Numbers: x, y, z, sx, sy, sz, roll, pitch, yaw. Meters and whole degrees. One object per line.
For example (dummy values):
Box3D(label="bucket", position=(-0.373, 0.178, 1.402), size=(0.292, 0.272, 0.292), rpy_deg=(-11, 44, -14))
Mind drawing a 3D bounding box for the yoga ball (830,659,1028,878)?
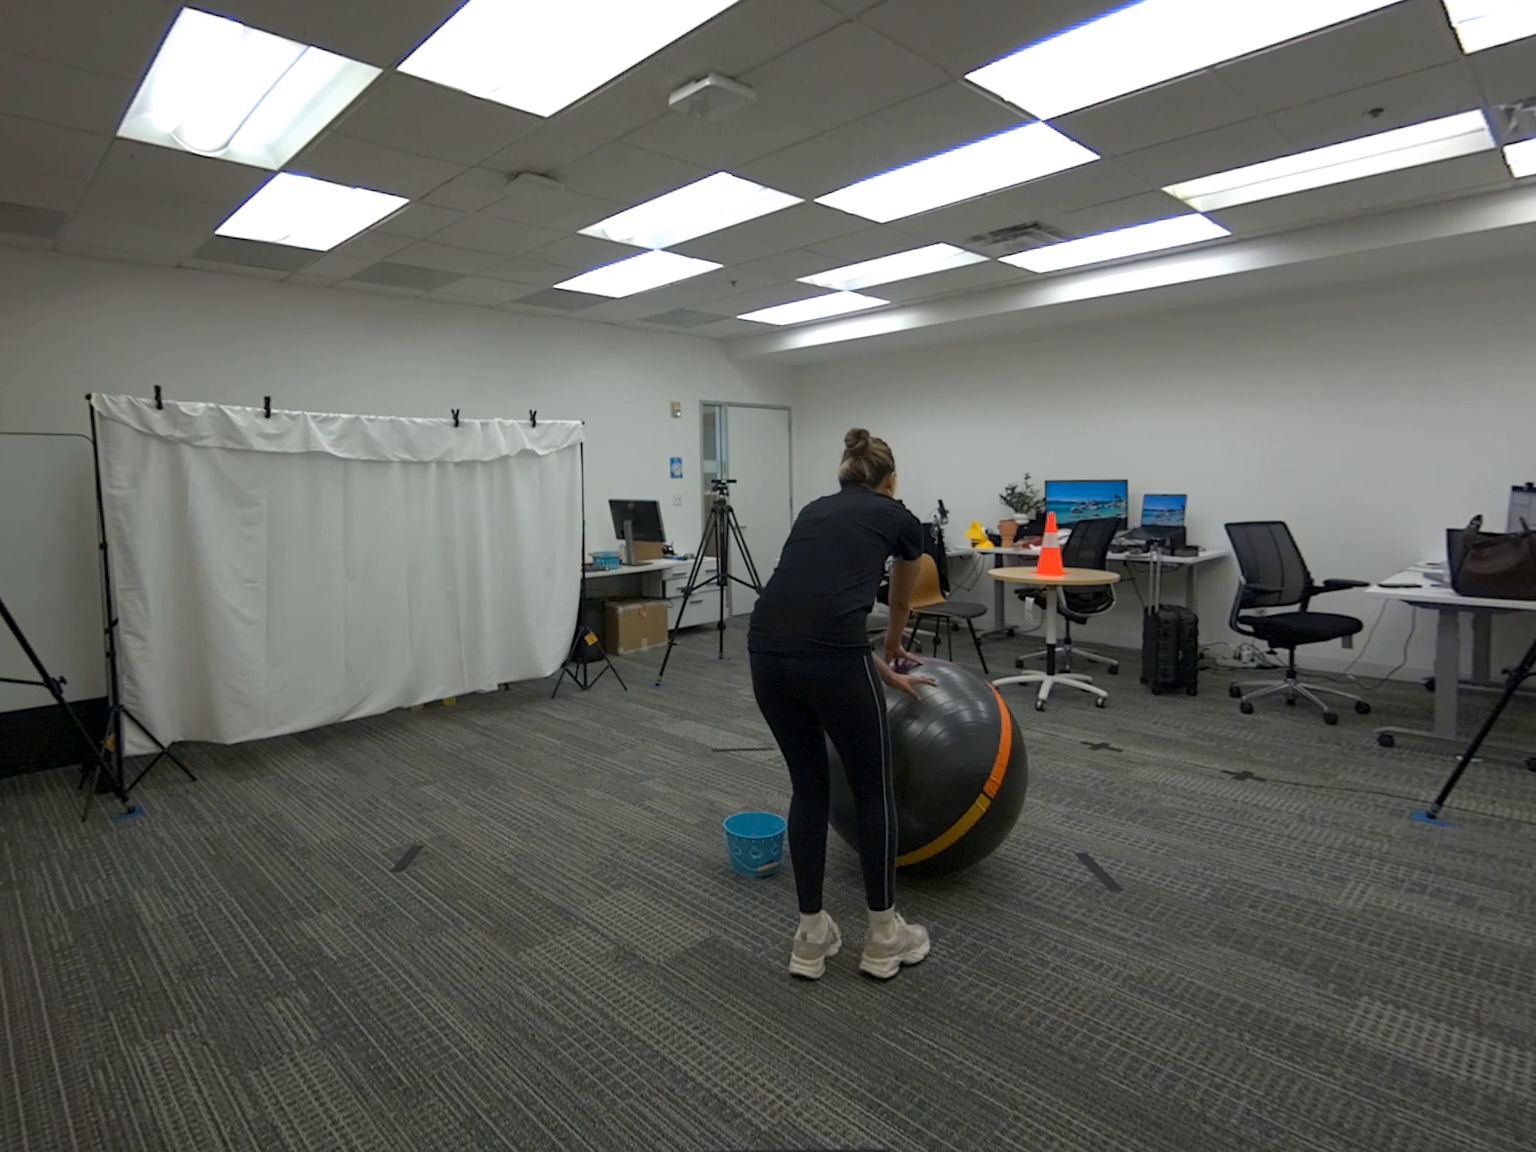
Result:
Box3D(label="yoga ball", position=(0.536, 0.674, 3.062), size=(0.757, 0.755, 0.762), rpy_deg=(-1, 5, -2))
